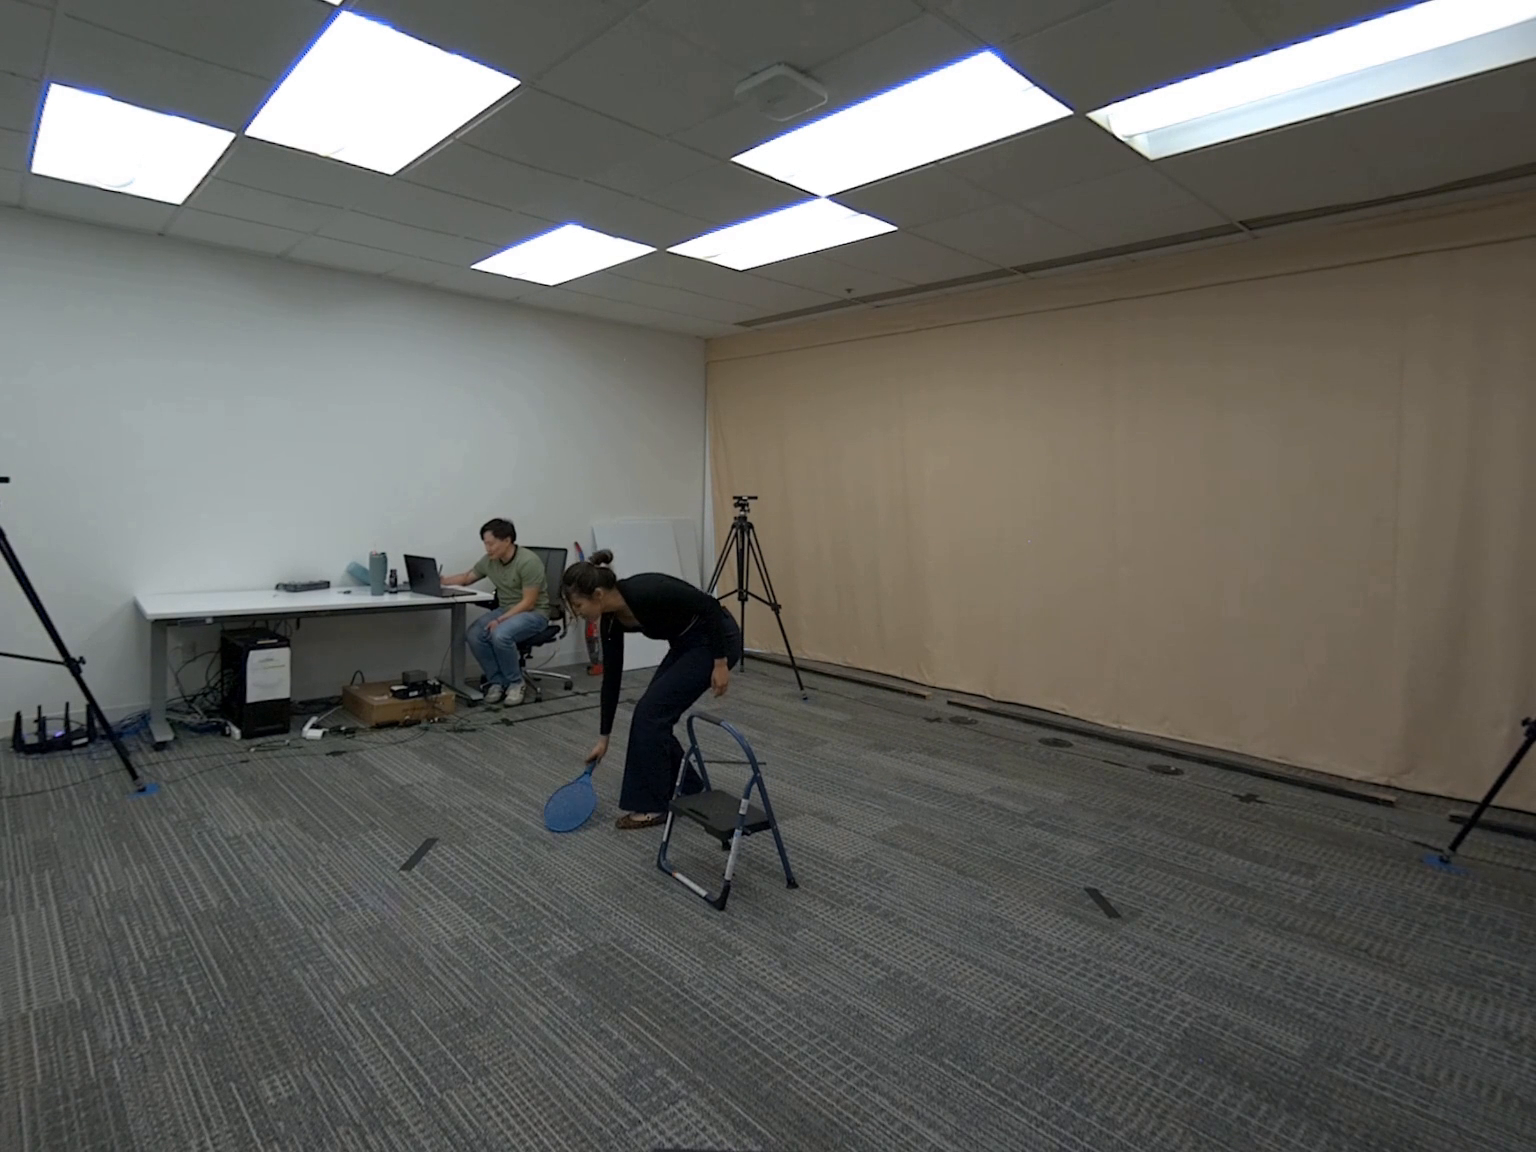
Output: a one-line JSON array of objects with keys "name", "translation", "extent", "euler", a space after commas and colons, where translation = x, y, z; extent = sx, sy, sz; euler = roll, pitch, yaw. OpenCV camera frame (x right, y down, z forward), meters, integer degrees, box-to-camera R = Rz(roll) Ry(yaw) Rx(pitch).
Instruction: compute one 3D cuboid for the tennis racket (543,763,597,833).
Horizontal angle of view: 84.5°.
[{"name": "tennis racket", "translation": [-0.822, 0.918, 3.629], "extent": [0.217, 0.031, 0.436], "euler": [6, 36, 15]}]
